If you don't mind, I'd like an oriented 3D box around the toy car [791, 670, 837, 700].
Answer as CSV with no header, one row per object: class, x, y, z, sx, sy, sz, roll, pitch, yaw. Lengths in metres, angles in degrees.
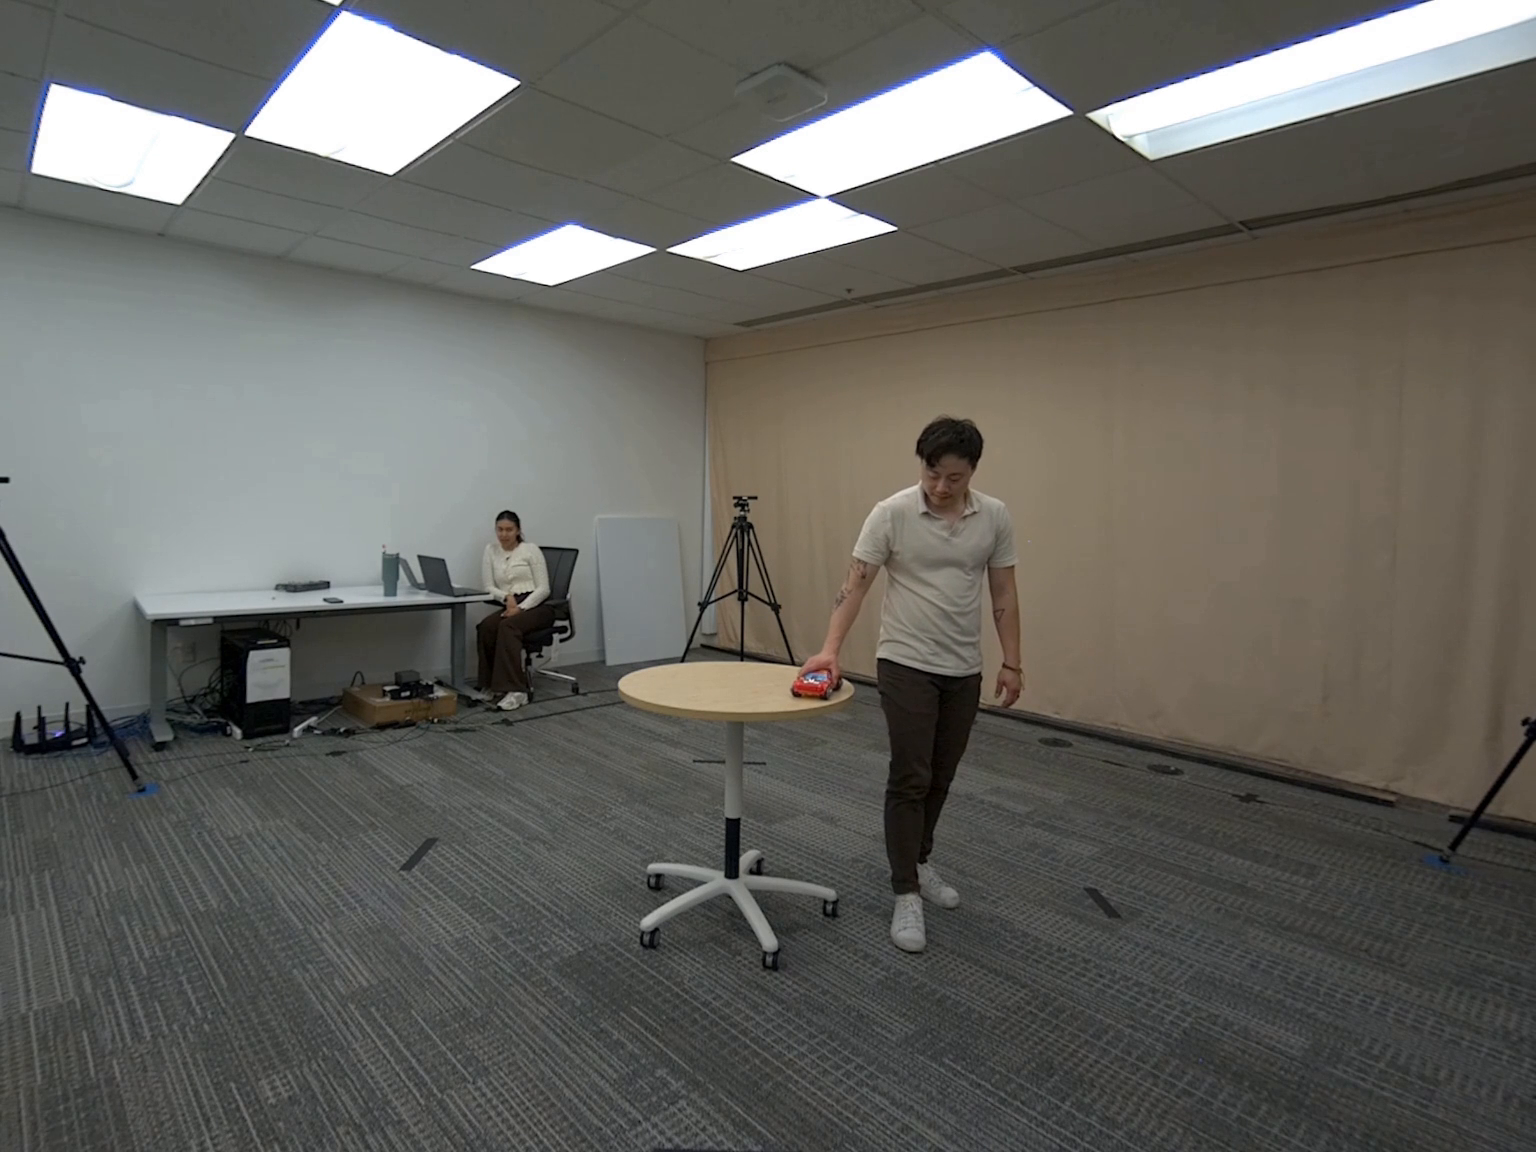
toy car,0.155,0.337,2.640,0.132,0.082,0.253,1,15,18
